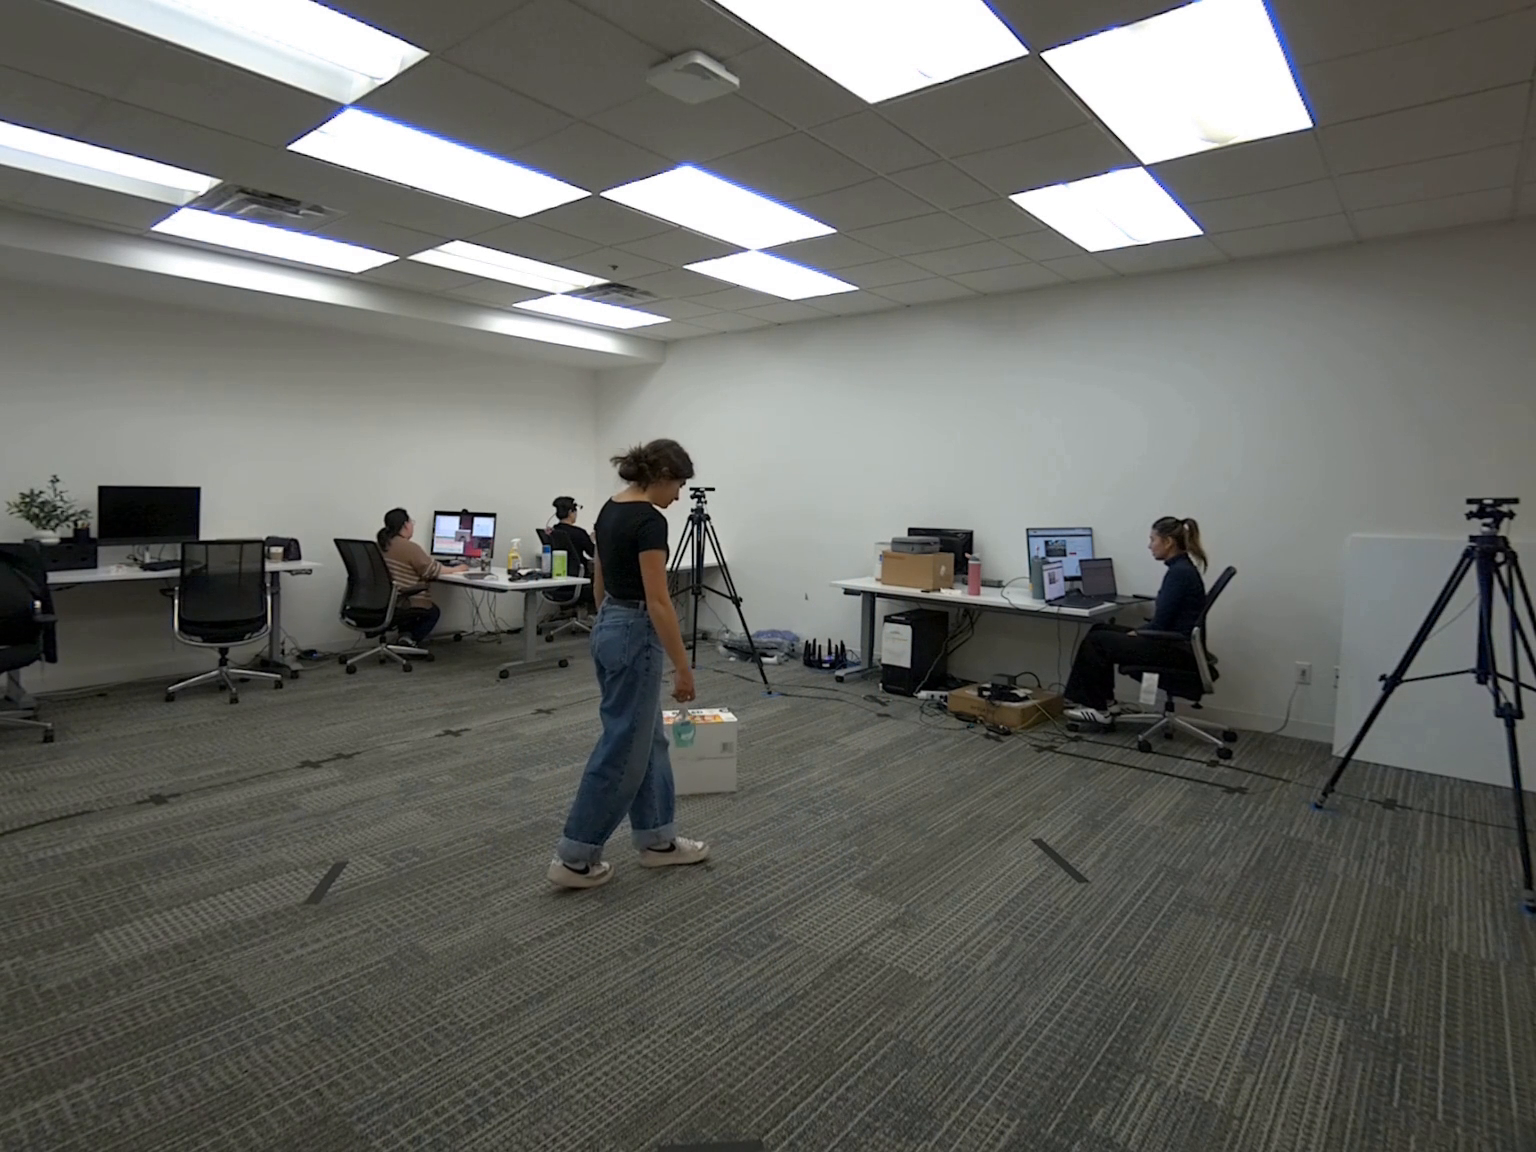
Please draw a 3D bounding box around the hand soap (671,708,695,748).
[{"bbox_3d":[-0.301,0.502,2.899,0.083,0.168,0.044,1,-1,-22],"label":"hand soap"}]
